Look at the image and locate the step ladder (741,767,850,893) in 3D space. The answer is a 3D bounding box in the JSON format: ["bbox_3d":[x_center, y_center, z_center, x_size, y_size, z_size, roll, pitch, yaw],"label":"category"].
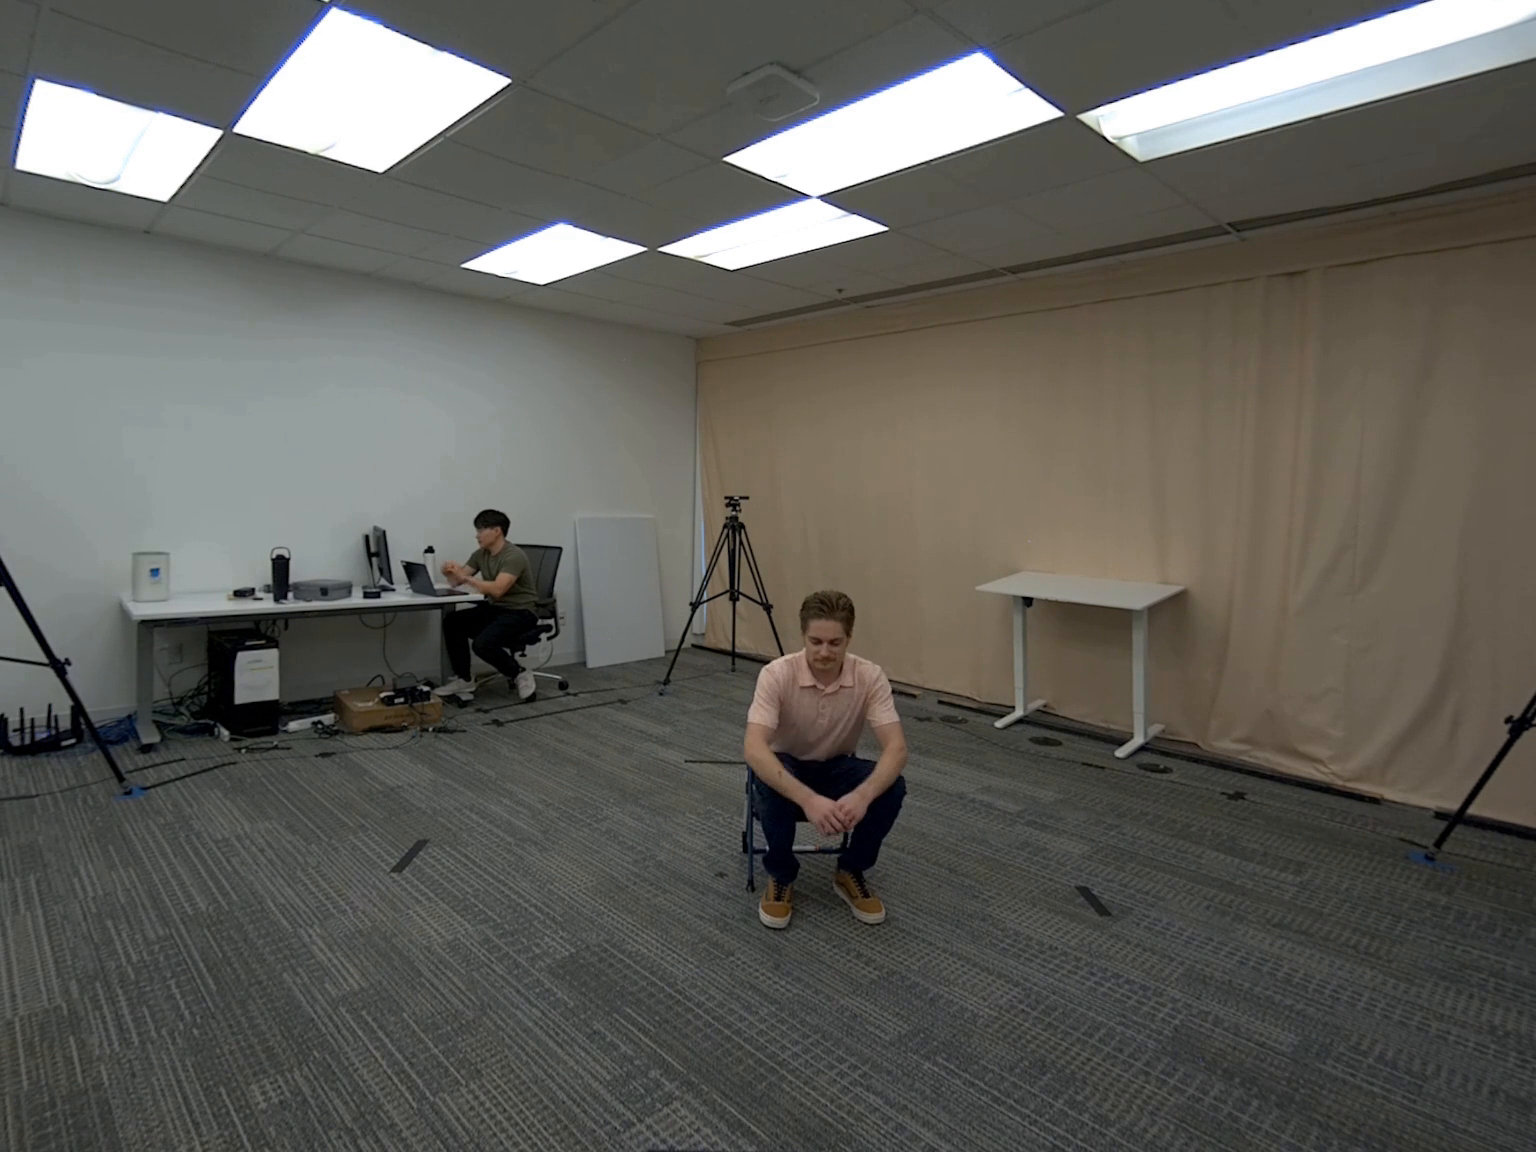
[{"bbox_3d":[0.126,0.812,3.147,0.429,0.604,0.351,1,4,-5],"label":"step ladder"}]
